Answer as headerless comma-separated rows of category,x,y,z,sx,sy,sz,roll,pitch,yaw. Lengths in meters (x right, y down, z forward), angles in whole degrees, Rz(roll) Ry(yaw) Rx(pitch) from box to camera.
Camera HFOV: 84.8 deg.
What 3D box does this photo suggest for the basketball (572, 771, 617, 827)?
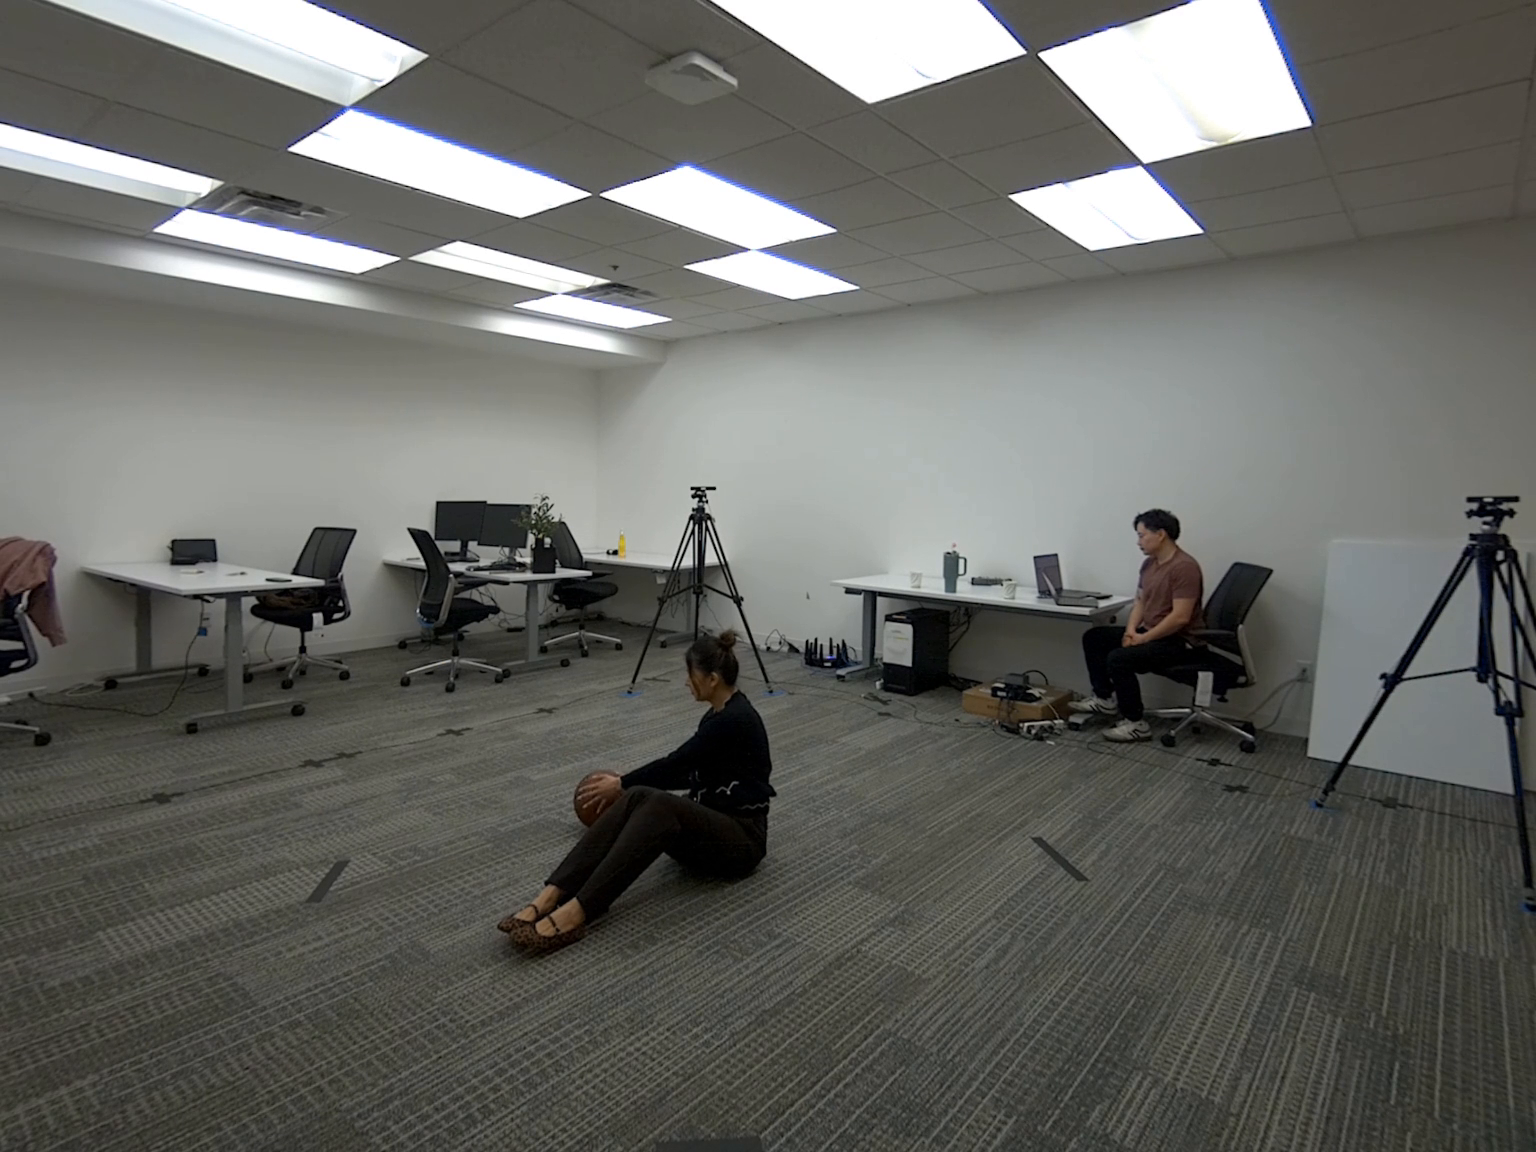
basketball,-0.682,0.901,3.454,0.235,0.235,0.237,1,4,-2
